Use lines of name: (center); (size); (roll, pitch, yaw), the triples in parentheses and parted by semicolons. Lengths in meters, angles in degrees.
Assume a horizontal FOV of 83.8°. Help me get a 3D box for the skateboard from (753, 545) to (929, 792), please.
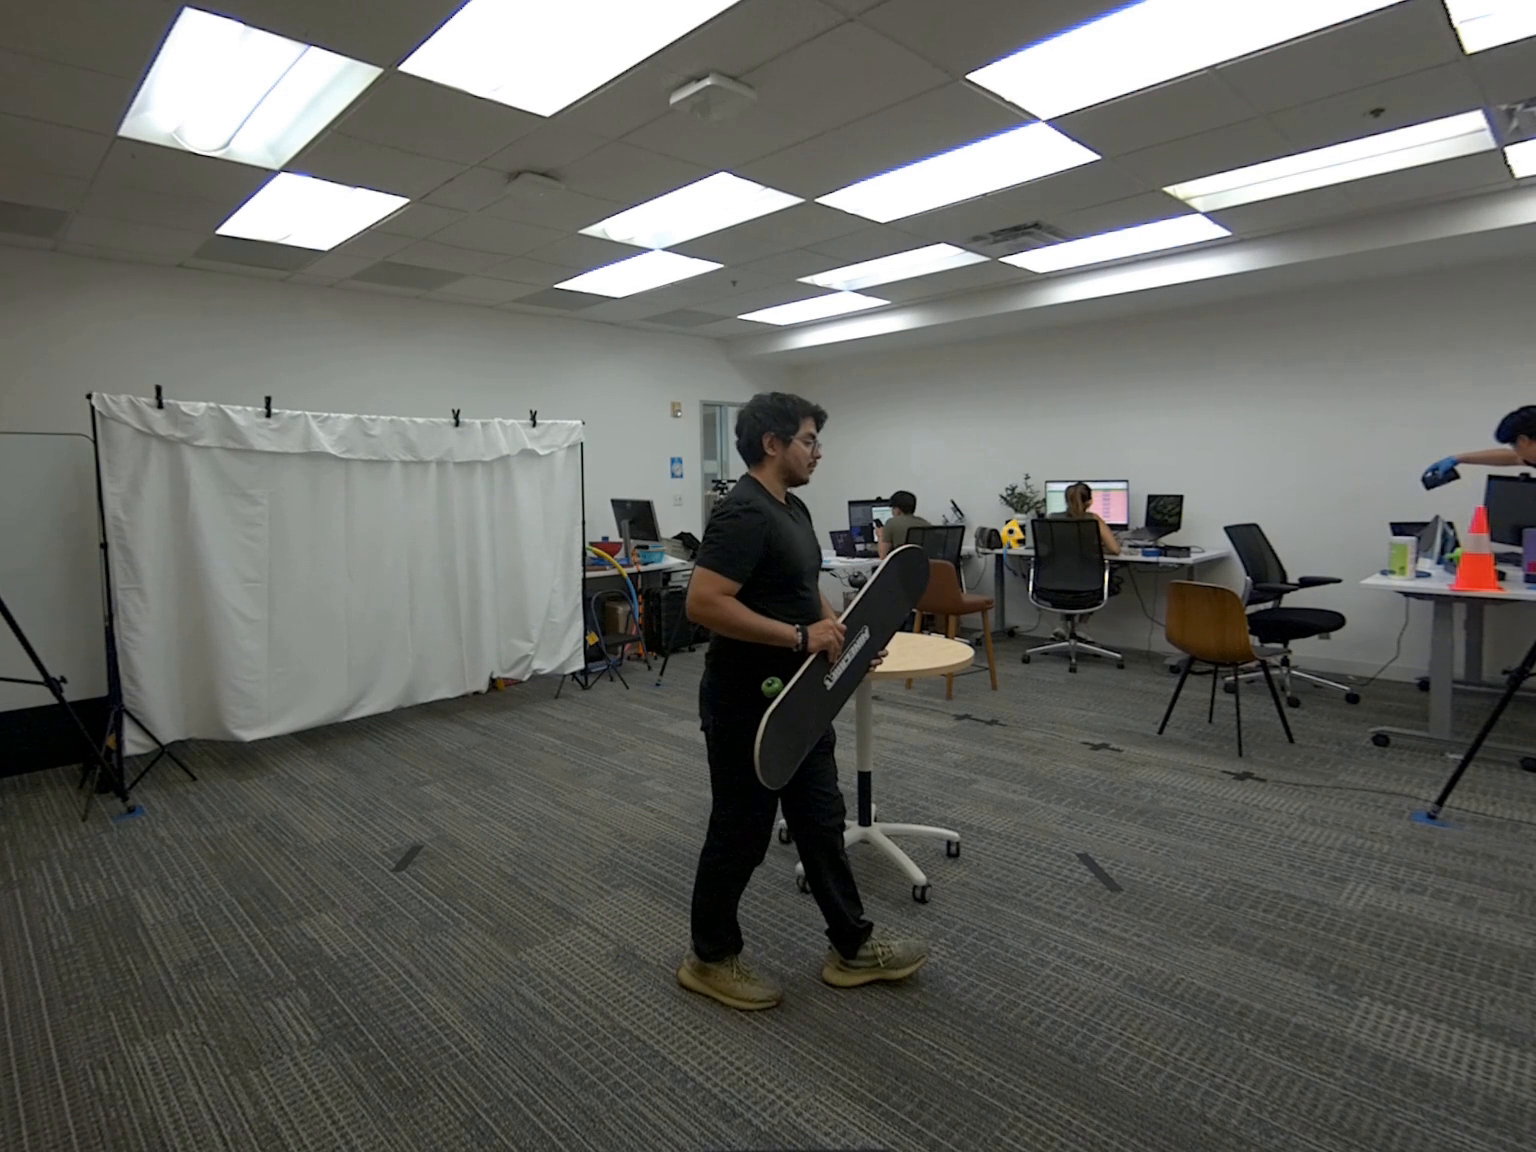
skateboard: (0.176, 0.202, 2.164); (0.114, 0.187, 0.785); (7, 46, 45)
